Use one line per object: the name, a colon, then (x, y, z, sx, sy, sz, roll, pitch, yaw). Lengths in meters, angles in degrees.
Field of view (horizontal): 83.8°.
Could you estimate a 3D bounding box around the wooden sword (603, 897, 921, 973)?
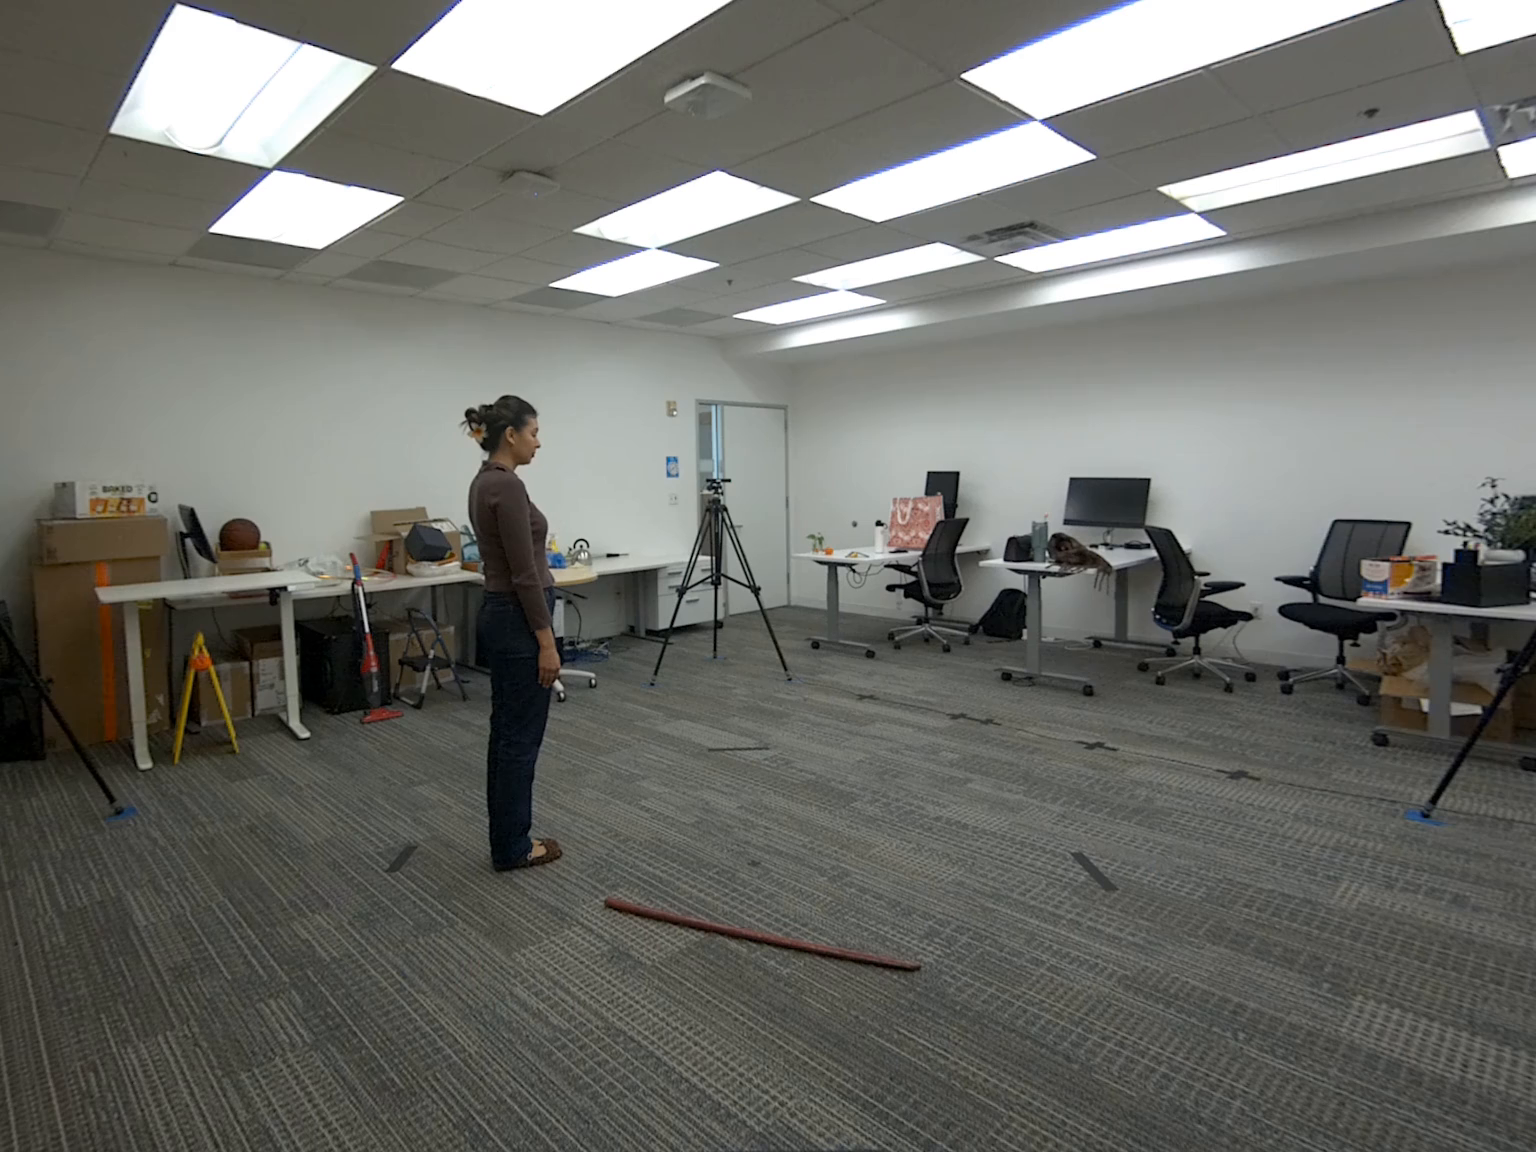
wooden sword: (-0.050, 1.077, 2.606, 1.047, 0.023, 0.051, 2, 26, 23)
